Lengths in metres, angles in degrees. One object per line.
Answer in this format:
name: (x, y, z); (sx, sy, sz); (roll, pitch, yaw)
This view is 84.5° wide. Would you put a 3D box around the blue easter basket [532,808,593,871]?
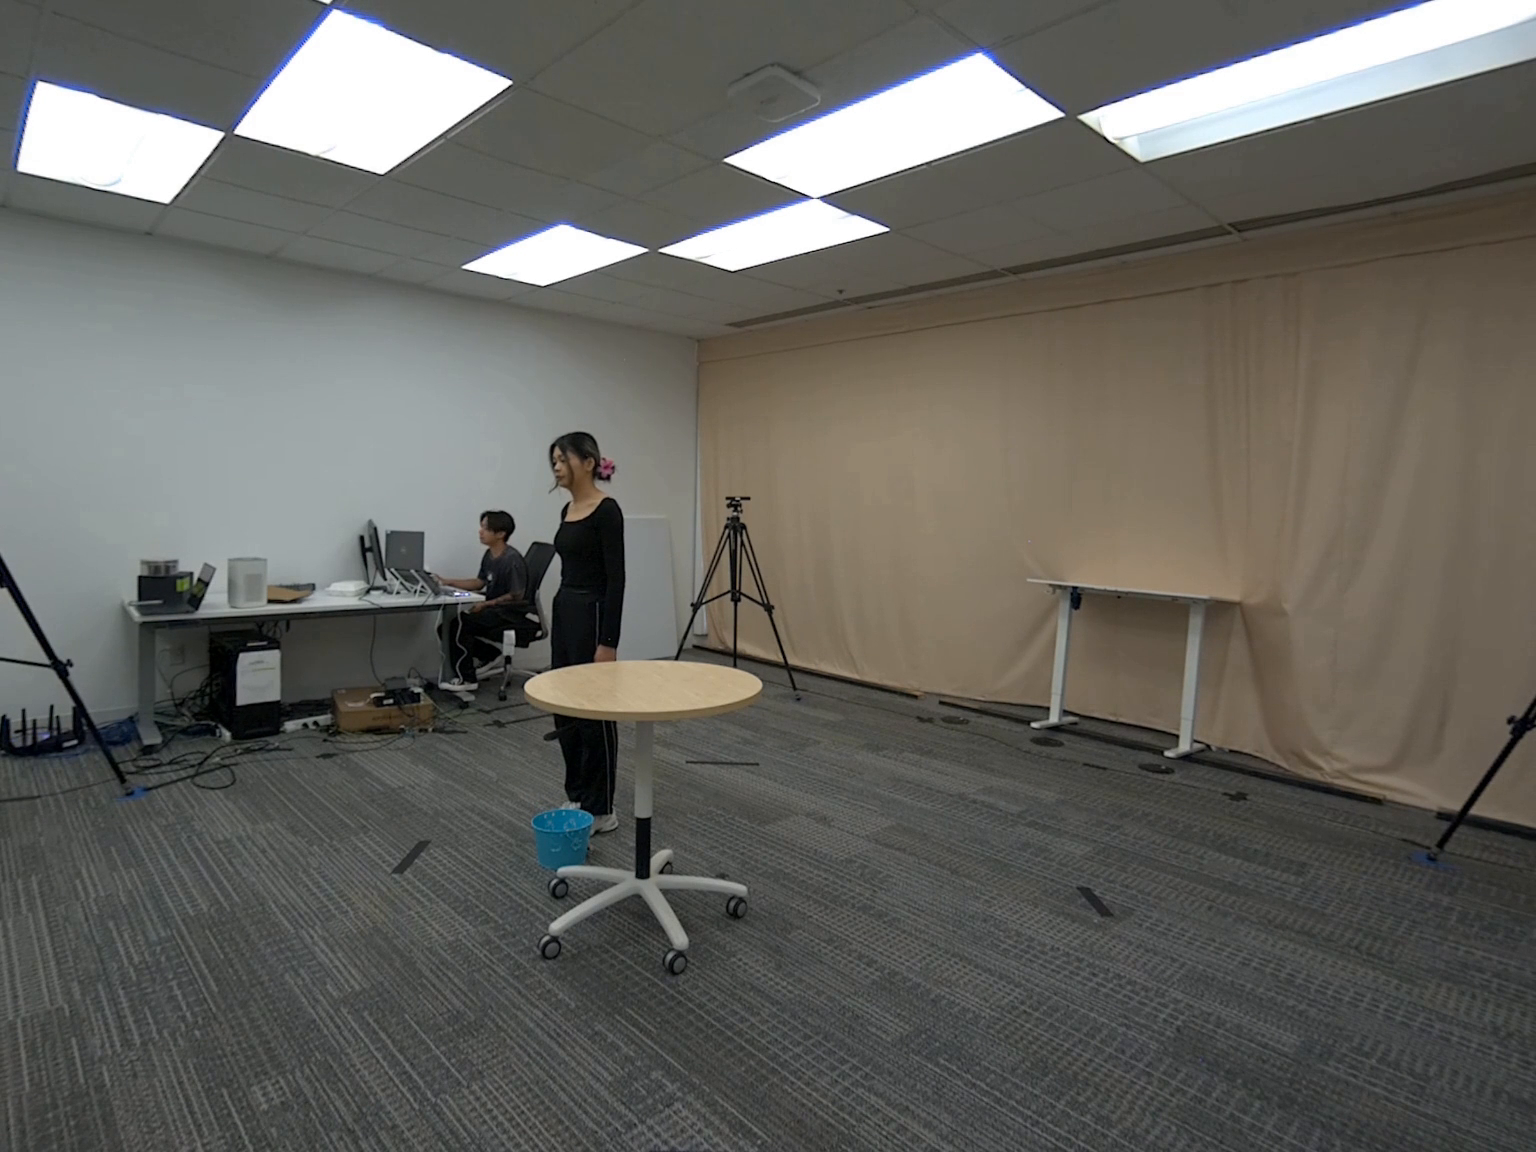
blue easter basket: (-0.799, 1.010, 3.213); (0.243, 0.155, 0.244); (1, 5, -1)
